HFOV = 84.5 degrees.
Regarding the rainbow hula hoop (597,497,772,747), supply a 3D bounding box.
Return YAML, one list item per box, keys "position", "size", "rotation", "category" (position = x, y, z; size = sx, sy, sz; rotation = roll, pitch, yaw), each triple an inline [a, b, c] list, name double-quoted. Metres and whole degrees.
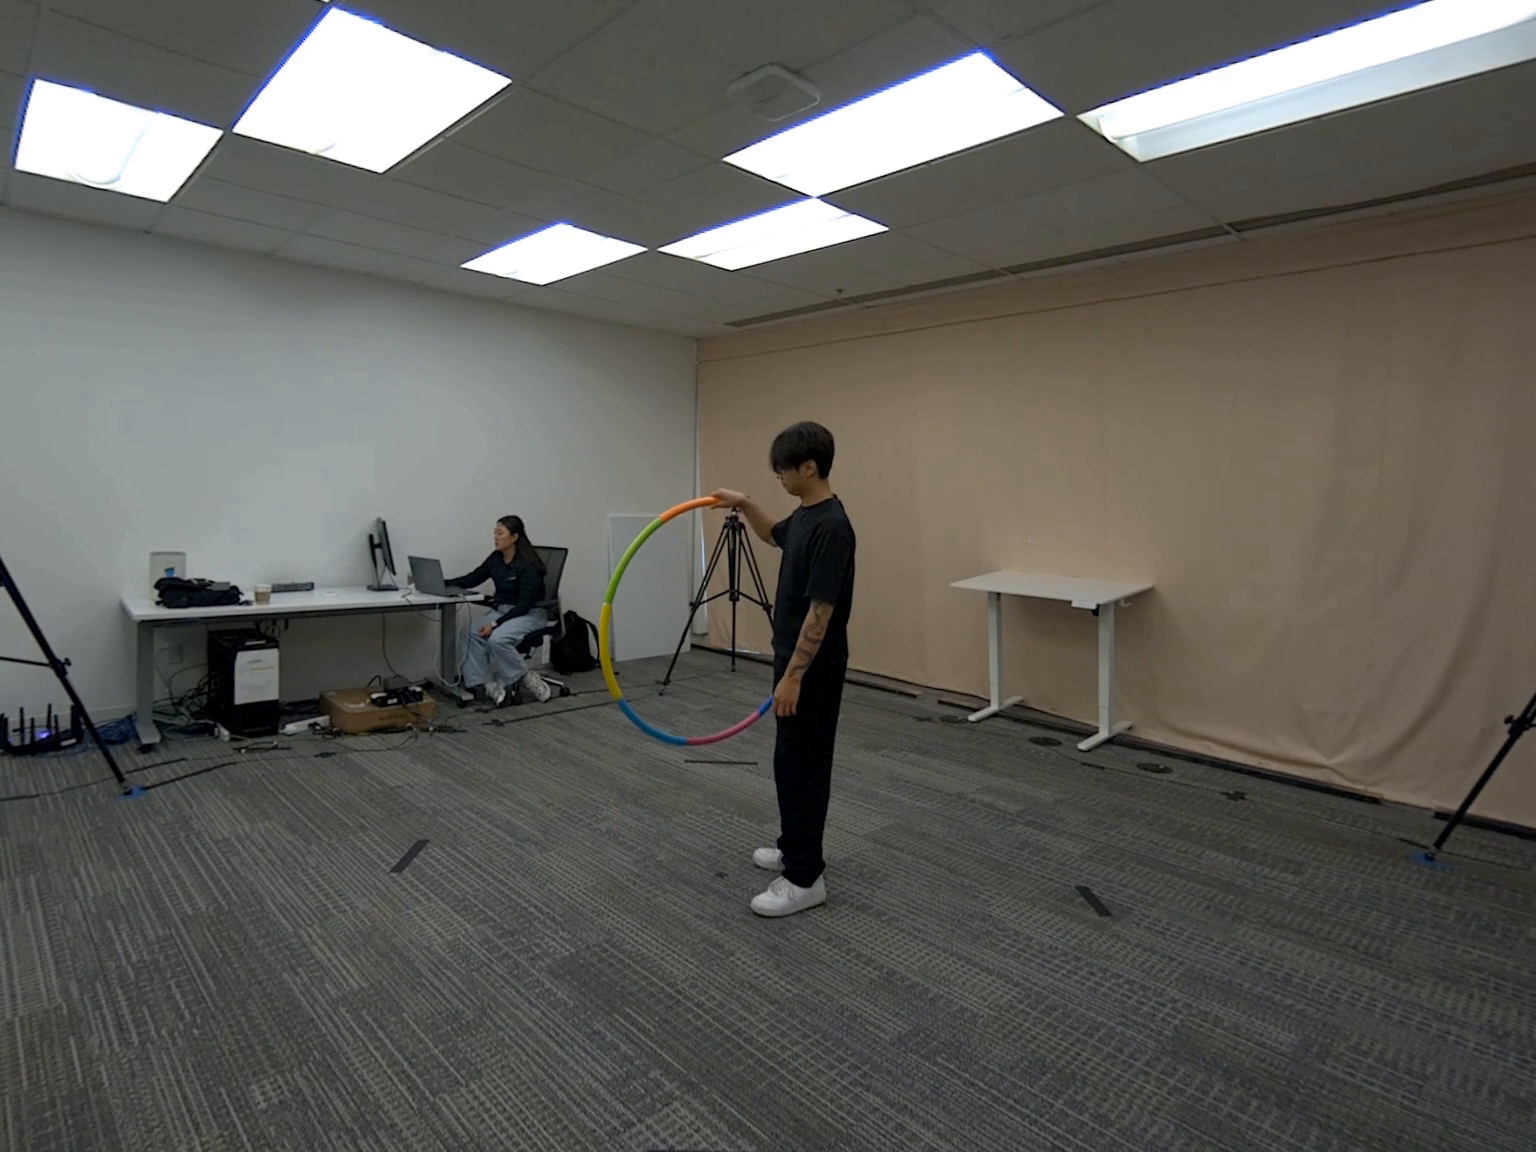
- position: [-0.222, 0.177, 3.321]
  size: [0.957, 0.974, 0.036]
  rotation: [-2, 7, -37]
  category: "rainbow hula hoop"
